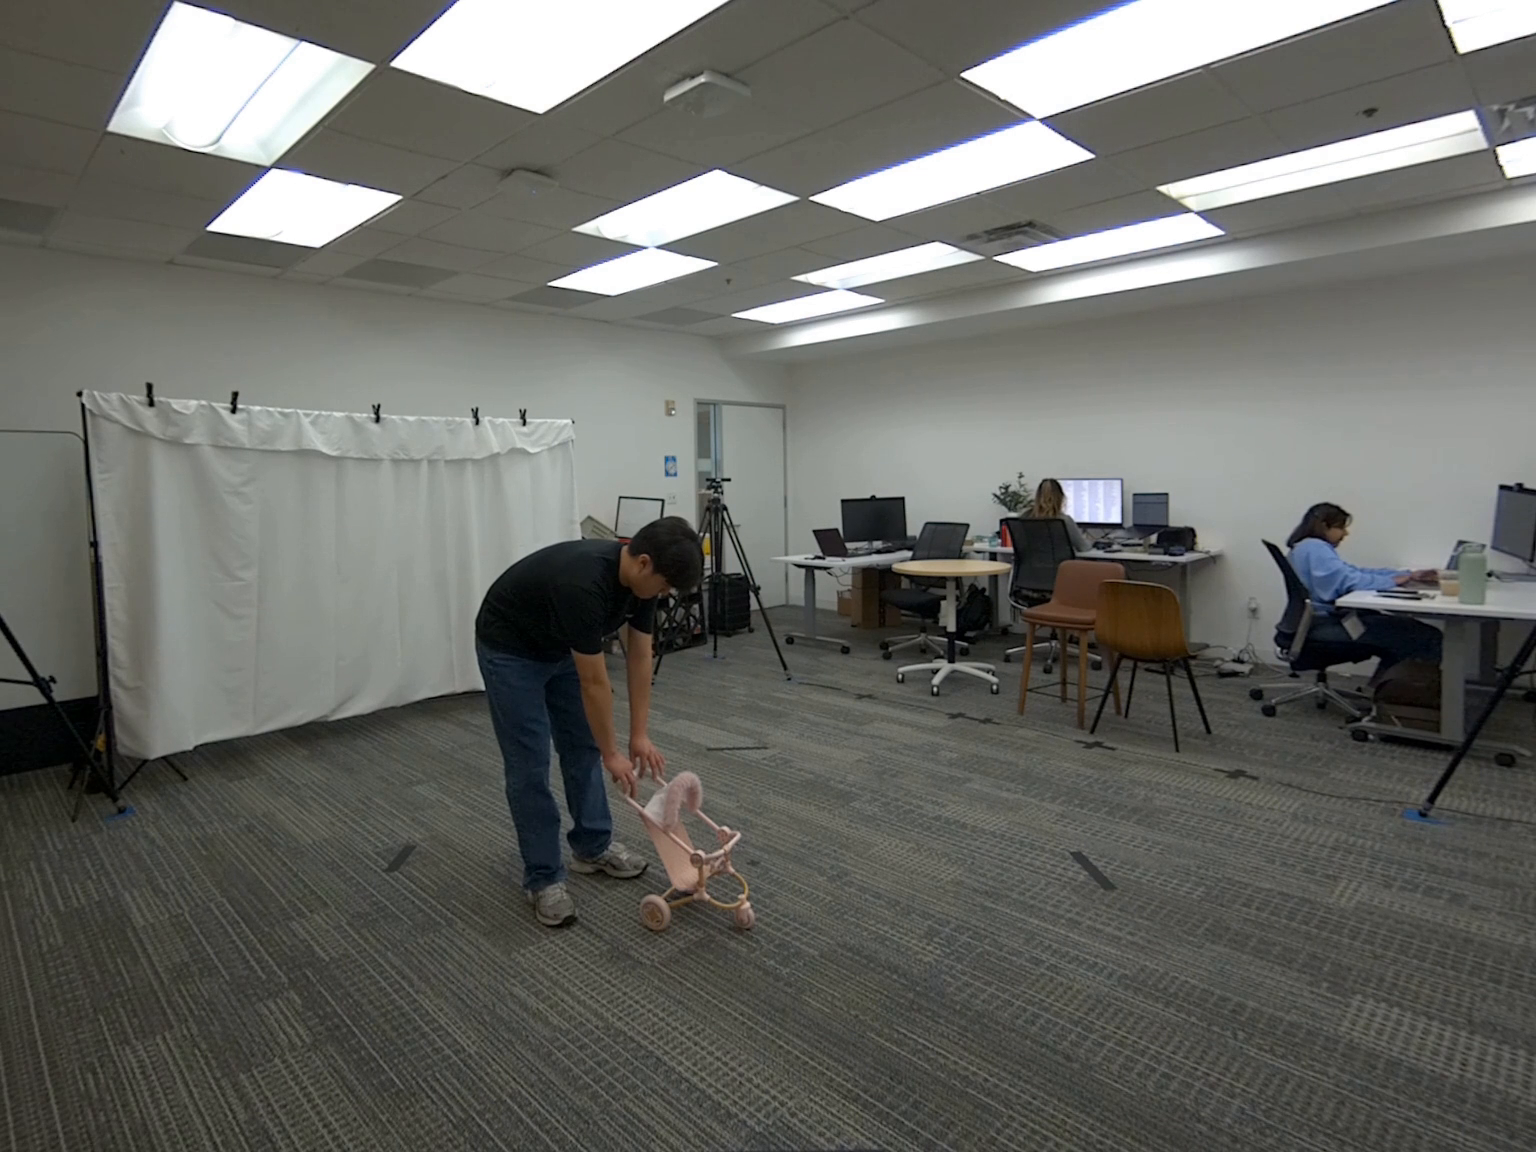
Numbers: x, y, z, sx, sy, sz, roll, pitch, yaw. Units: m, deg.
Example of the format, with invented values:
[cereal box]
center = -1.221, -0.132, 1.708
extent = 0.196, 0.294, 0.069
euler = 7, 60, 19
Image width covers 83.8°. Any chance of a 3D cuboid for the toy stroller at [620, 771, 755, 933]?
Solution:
[toy stroller]
center = -0.248, 0.863, 2.723
extent = 0.347, 0.537, 0.275
euler = -16, -3, 30
